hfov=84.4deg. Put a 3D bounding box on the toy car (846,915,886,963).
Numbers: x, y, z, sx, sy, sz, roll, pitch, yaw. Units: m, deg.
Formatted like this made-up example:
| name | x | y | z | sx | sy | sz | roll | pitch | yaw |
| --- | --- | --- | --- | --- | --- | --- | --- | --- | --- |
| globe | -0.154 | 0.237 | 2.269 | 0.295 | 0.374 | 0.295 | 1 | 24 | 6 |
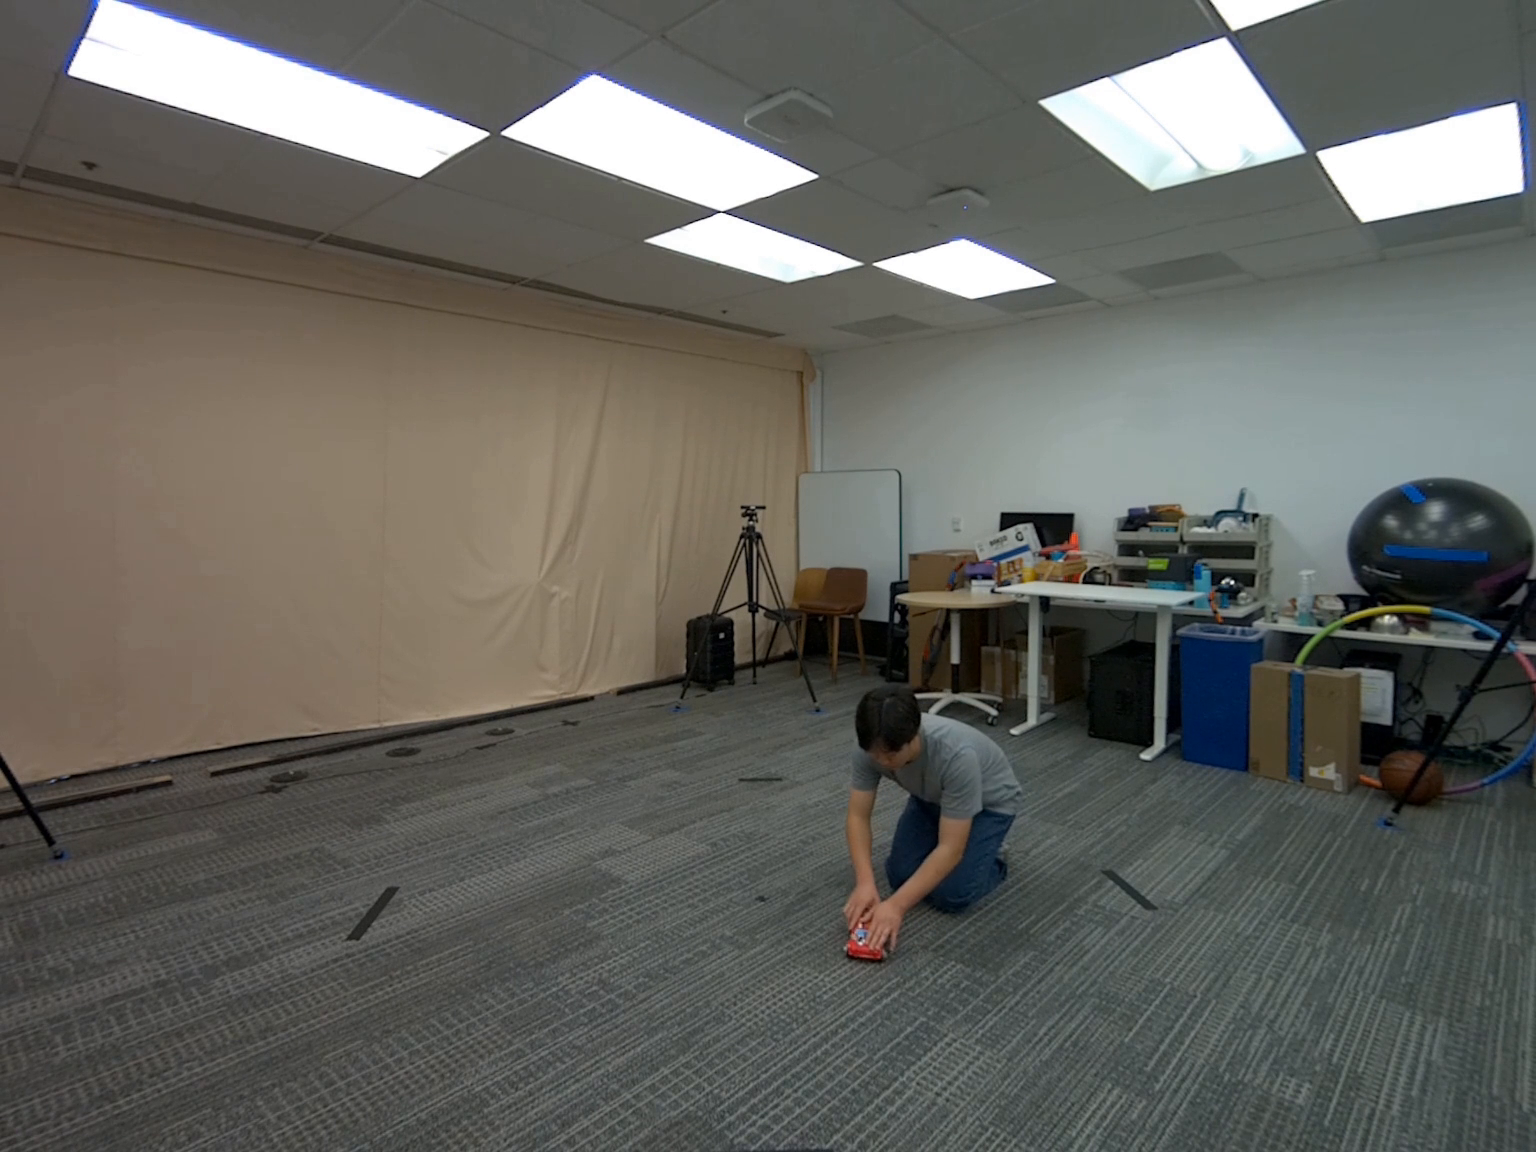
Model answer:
| name | x | y | z | sx | sy | sz | roll | pitch | yaw |
| --- | --- | --- | --- | --- | --- | --- | --- | --- | --- |
| toy car | 0.324 | 1.140 | 2.673 | 0.132 | 0.082 | 0.253 | 1 | 16 | 13 |
